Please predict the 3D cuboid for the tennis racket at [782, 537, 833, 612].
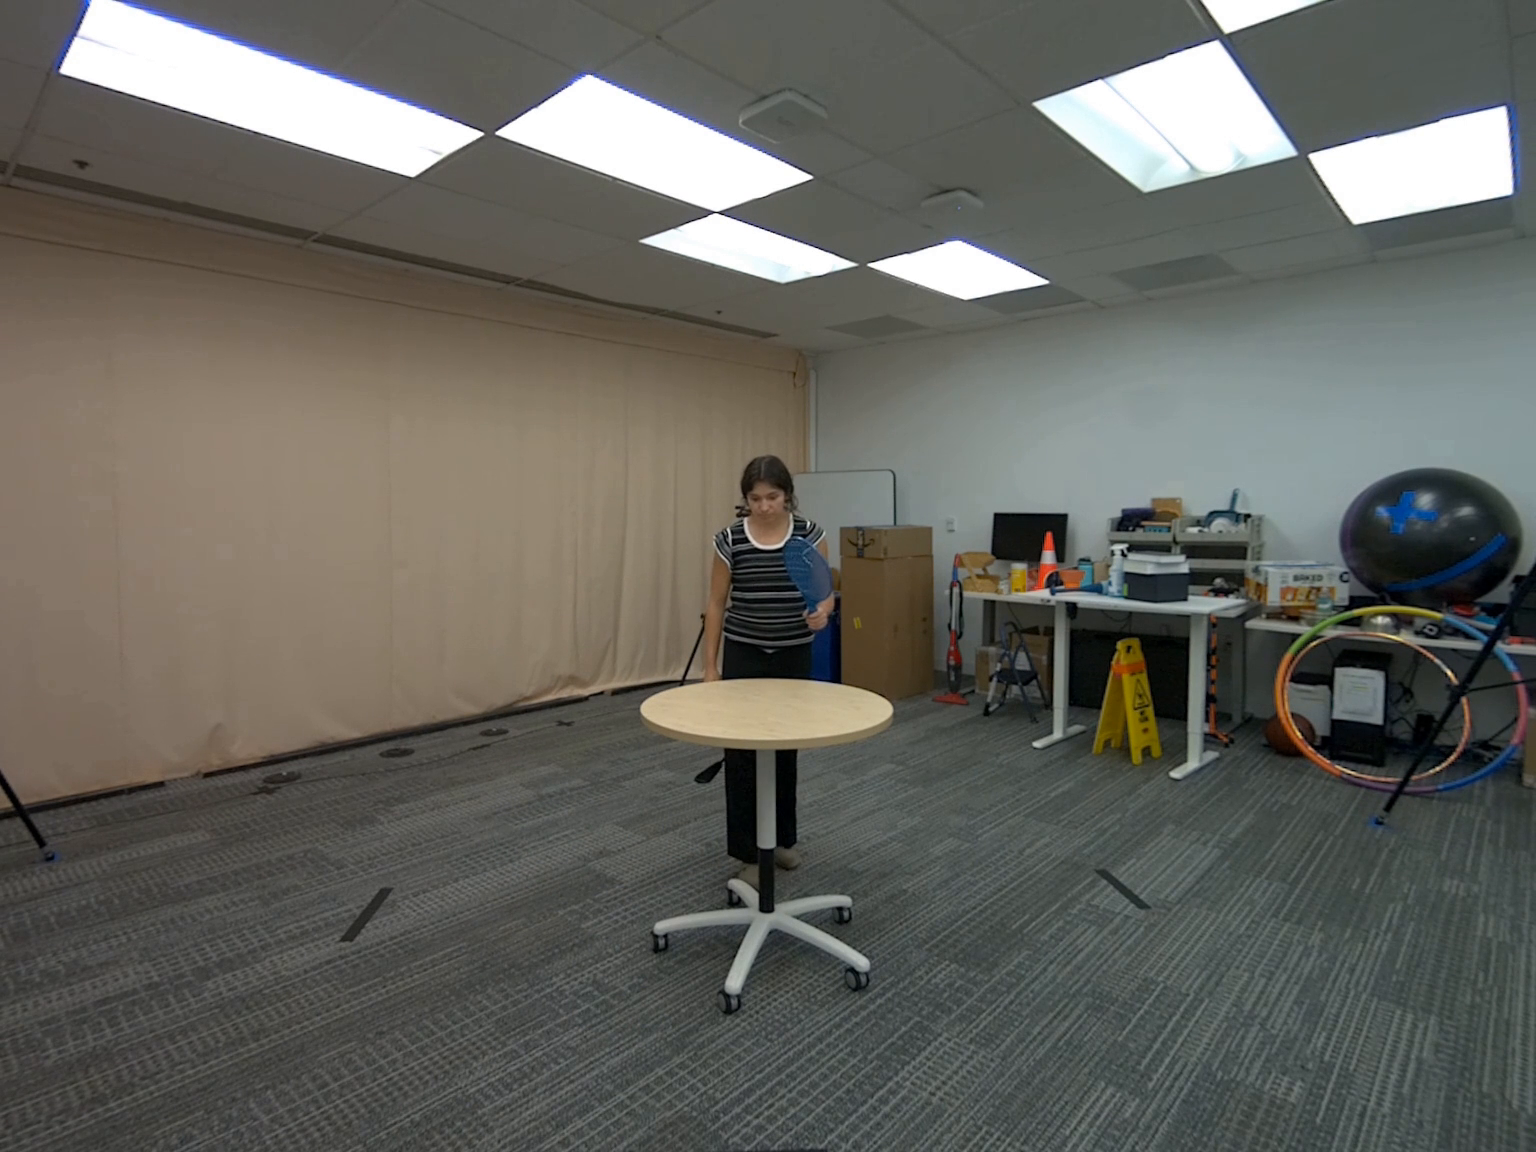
[{"bbox_3d":[0.152,0.038,2.882,0.031,0.424,0.221,-32,52,-29],"label":"tennis racket"}]
